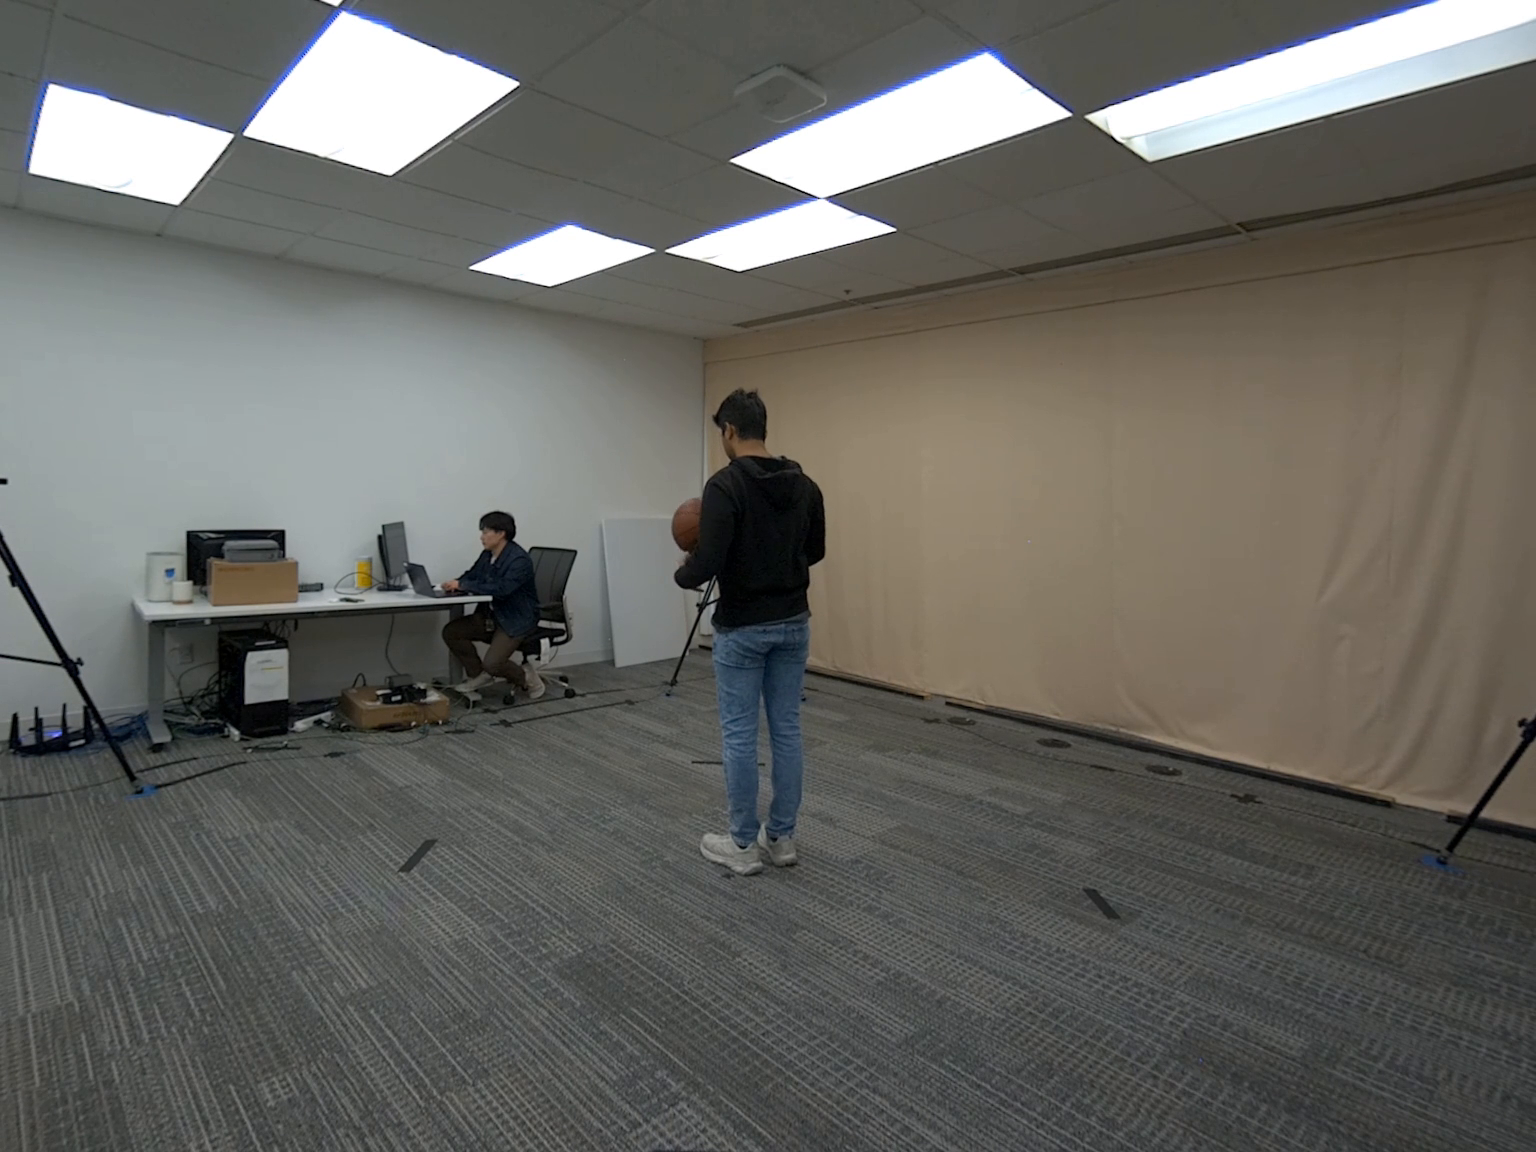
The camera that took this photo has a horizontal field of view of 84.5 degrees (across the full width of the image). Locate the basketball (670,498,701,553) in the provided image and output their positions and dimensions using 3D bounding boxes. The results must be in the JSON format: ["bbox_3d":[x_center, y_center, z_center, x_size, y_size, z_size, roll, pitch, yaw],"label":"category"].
[{"bbox_3d":[-0.260,-0.164,3.341,0.236,0.235,0.237,1,4,-1],"label":"basketball"}]
